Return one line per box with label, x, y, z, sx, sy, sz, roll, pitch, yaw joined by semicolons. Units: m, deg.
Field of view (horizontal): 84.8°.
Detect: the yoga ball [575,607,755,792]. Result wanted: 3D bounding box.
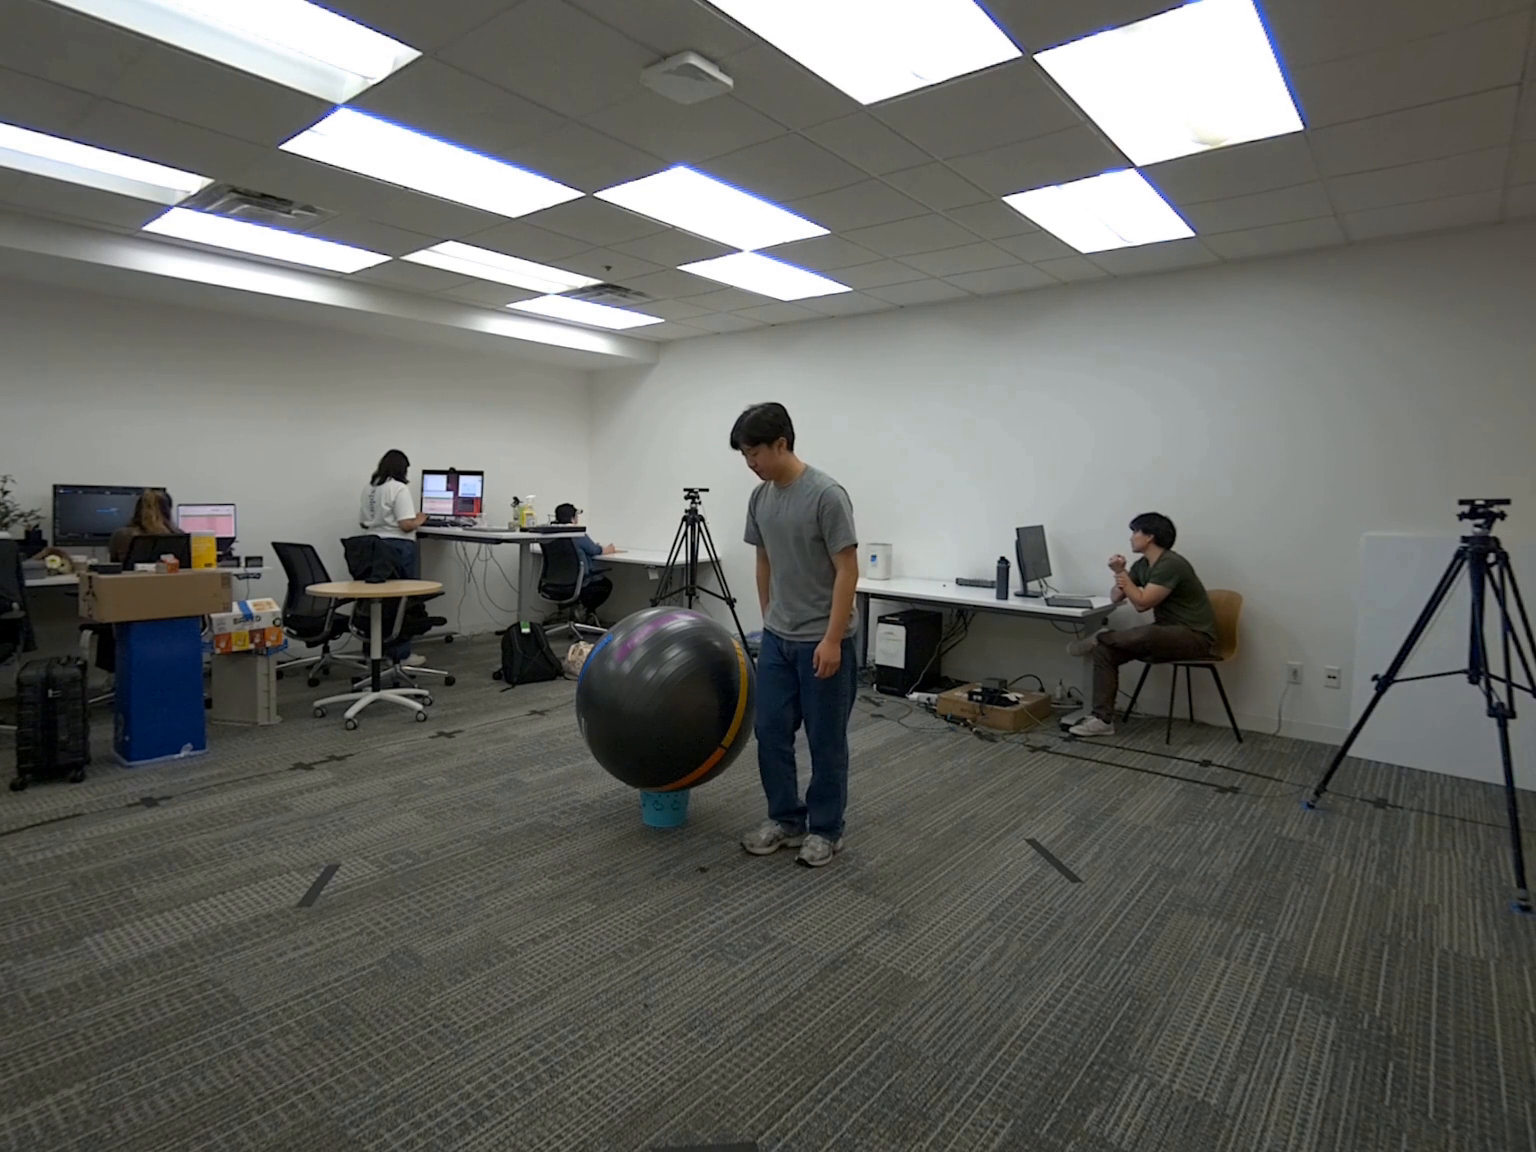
yoga ball;-0.439;0.514;3.568;0.757;0.755;0.762;1;4;-2
